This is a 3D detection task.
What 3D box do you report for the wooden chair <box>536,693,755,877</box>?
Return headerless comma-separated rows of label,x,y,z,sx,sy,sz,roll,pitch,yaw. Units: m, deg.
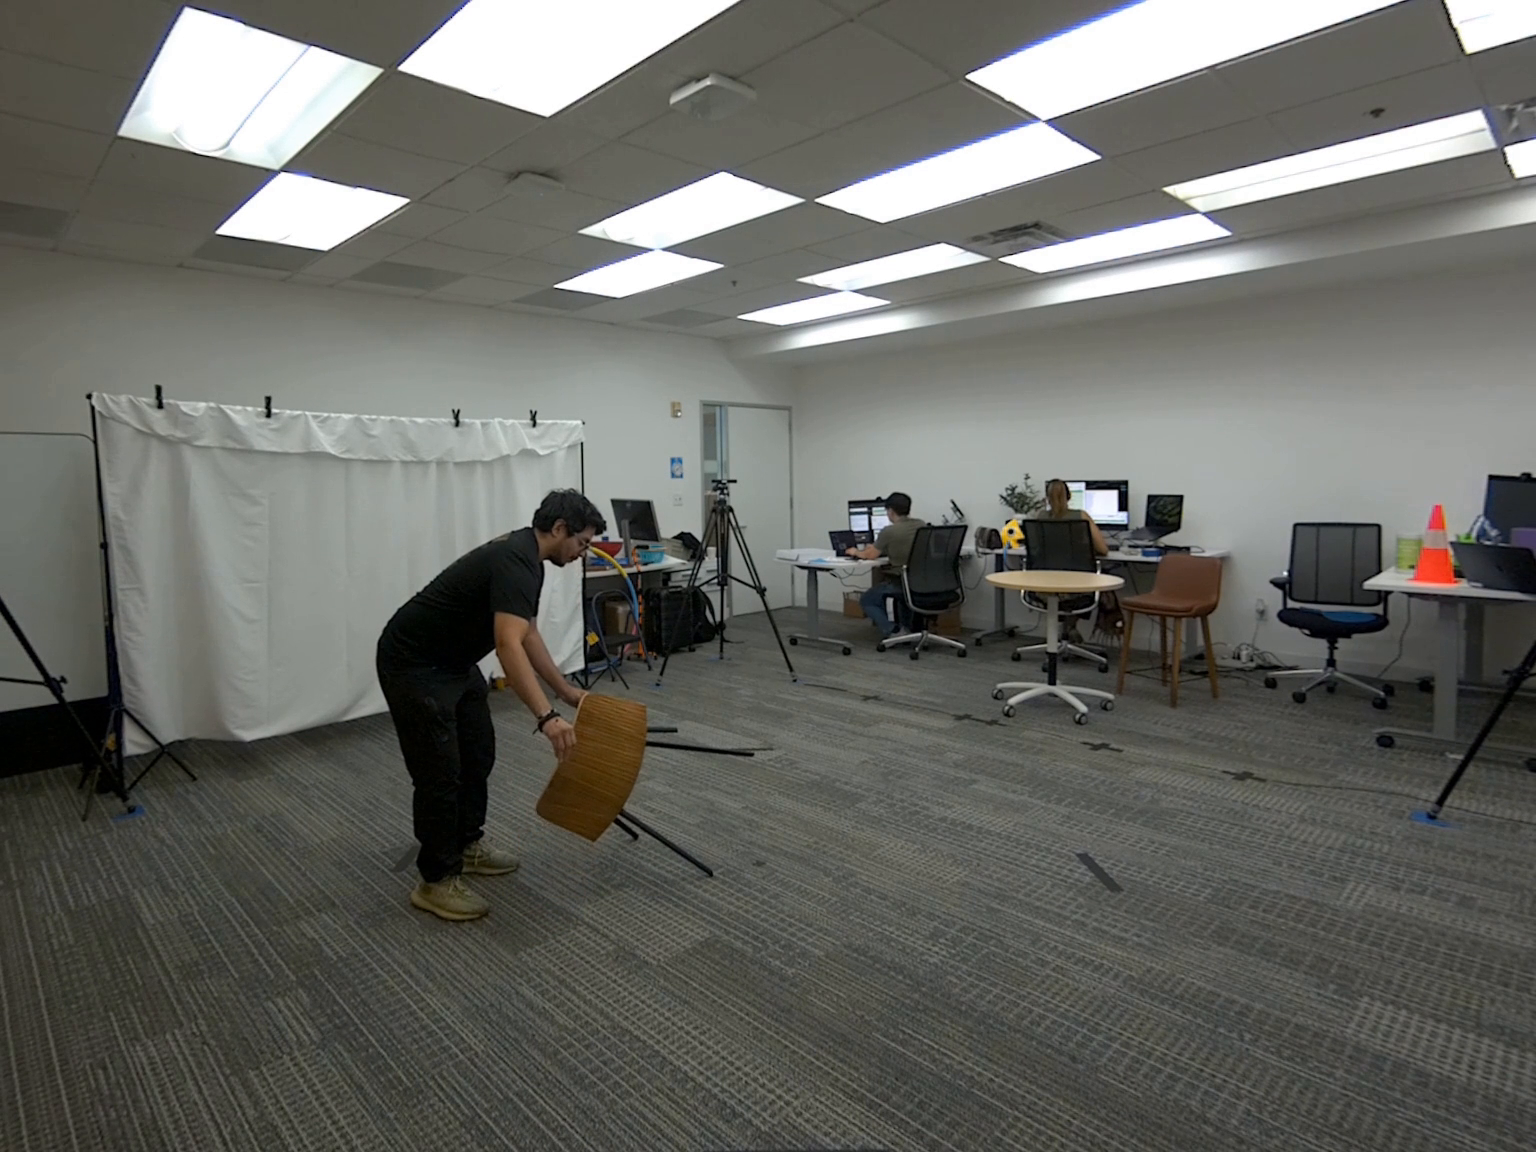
wooden chair,-0.551,0.666,2.981,0.540,0.482,0.843,7,-19,42
